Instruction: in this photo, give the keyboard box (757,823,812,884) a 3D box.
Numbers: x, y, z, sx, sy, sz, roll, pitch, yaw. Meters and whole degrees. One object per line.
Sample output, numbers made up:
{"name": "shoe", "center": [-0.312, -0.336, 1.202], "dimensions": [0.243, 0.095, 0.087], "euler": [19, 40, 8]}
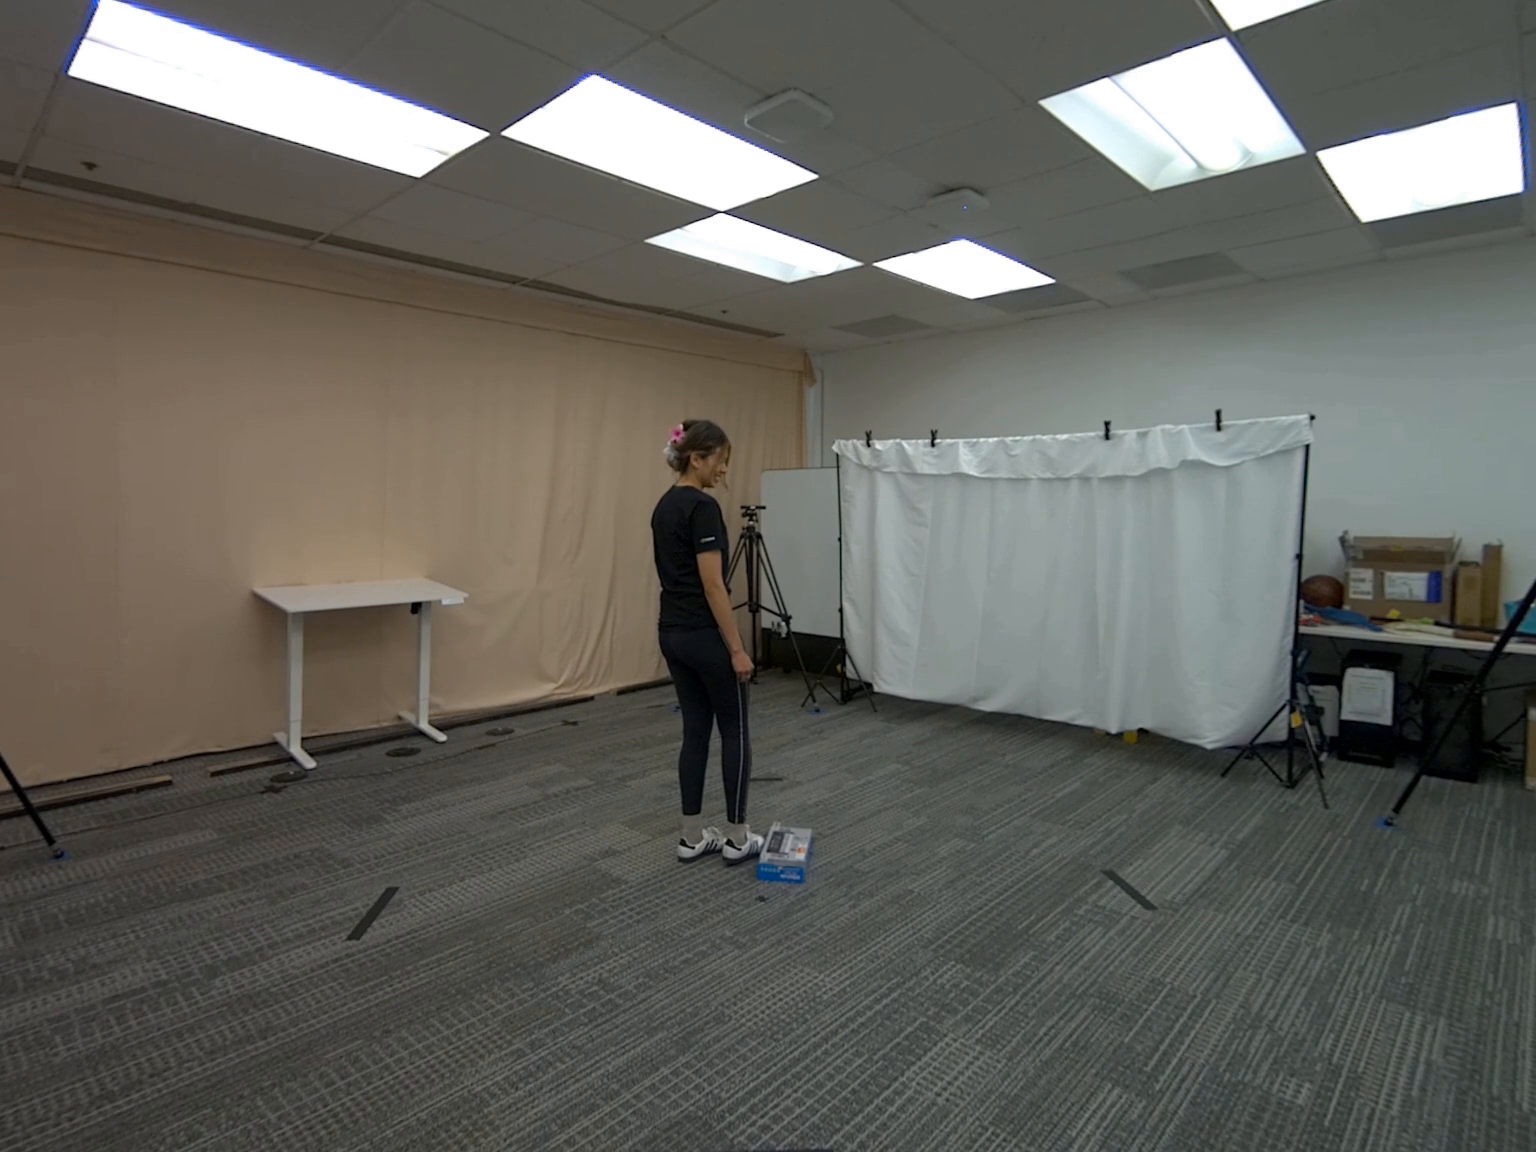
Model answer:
{"name": "keyboard box", "center": [0.080, 1.082, 3.329], "dimensions": [0.178, 0.059, 0.433], "euler": [2, 5, 9]}
